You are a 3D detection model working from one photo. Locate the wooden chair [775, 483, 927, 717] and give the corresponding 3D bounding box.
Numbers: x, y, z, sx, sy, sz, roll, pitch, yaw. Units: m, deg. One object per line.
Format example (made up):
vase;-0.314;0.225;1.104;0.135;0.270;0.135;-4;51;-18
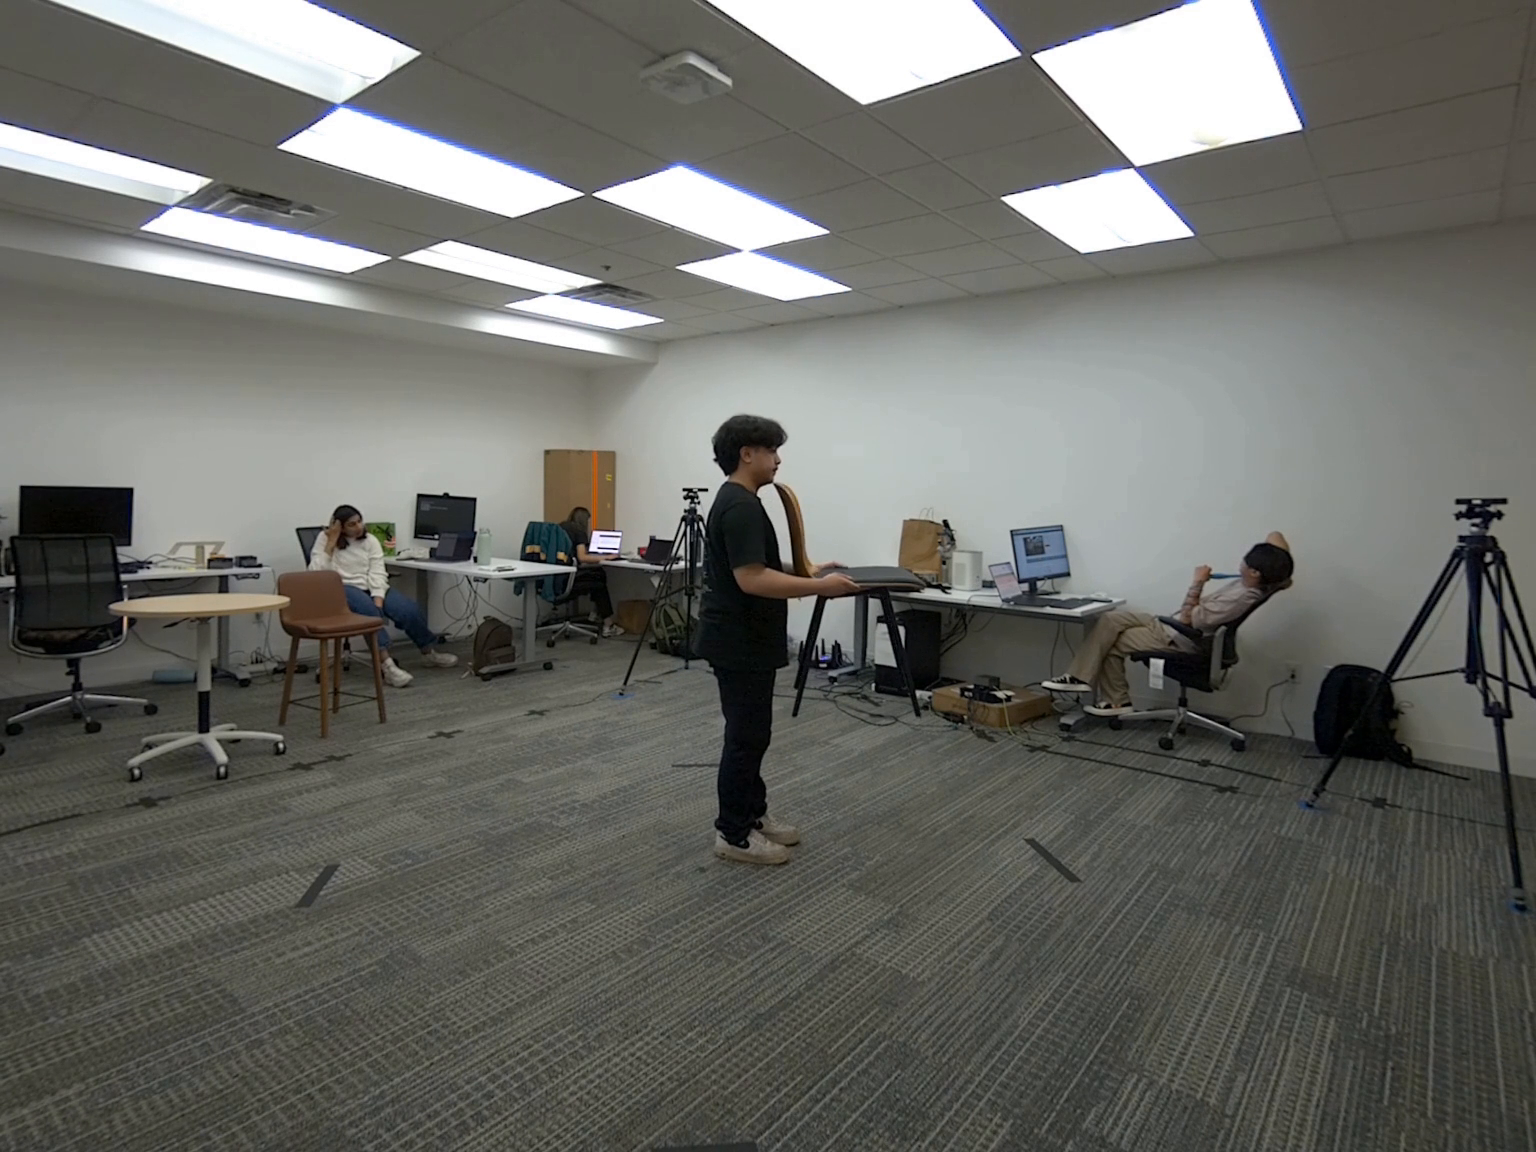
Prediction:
wooden chair;0.311;0.059;3.214;0.527;0.875;0.476;-5;3;6
